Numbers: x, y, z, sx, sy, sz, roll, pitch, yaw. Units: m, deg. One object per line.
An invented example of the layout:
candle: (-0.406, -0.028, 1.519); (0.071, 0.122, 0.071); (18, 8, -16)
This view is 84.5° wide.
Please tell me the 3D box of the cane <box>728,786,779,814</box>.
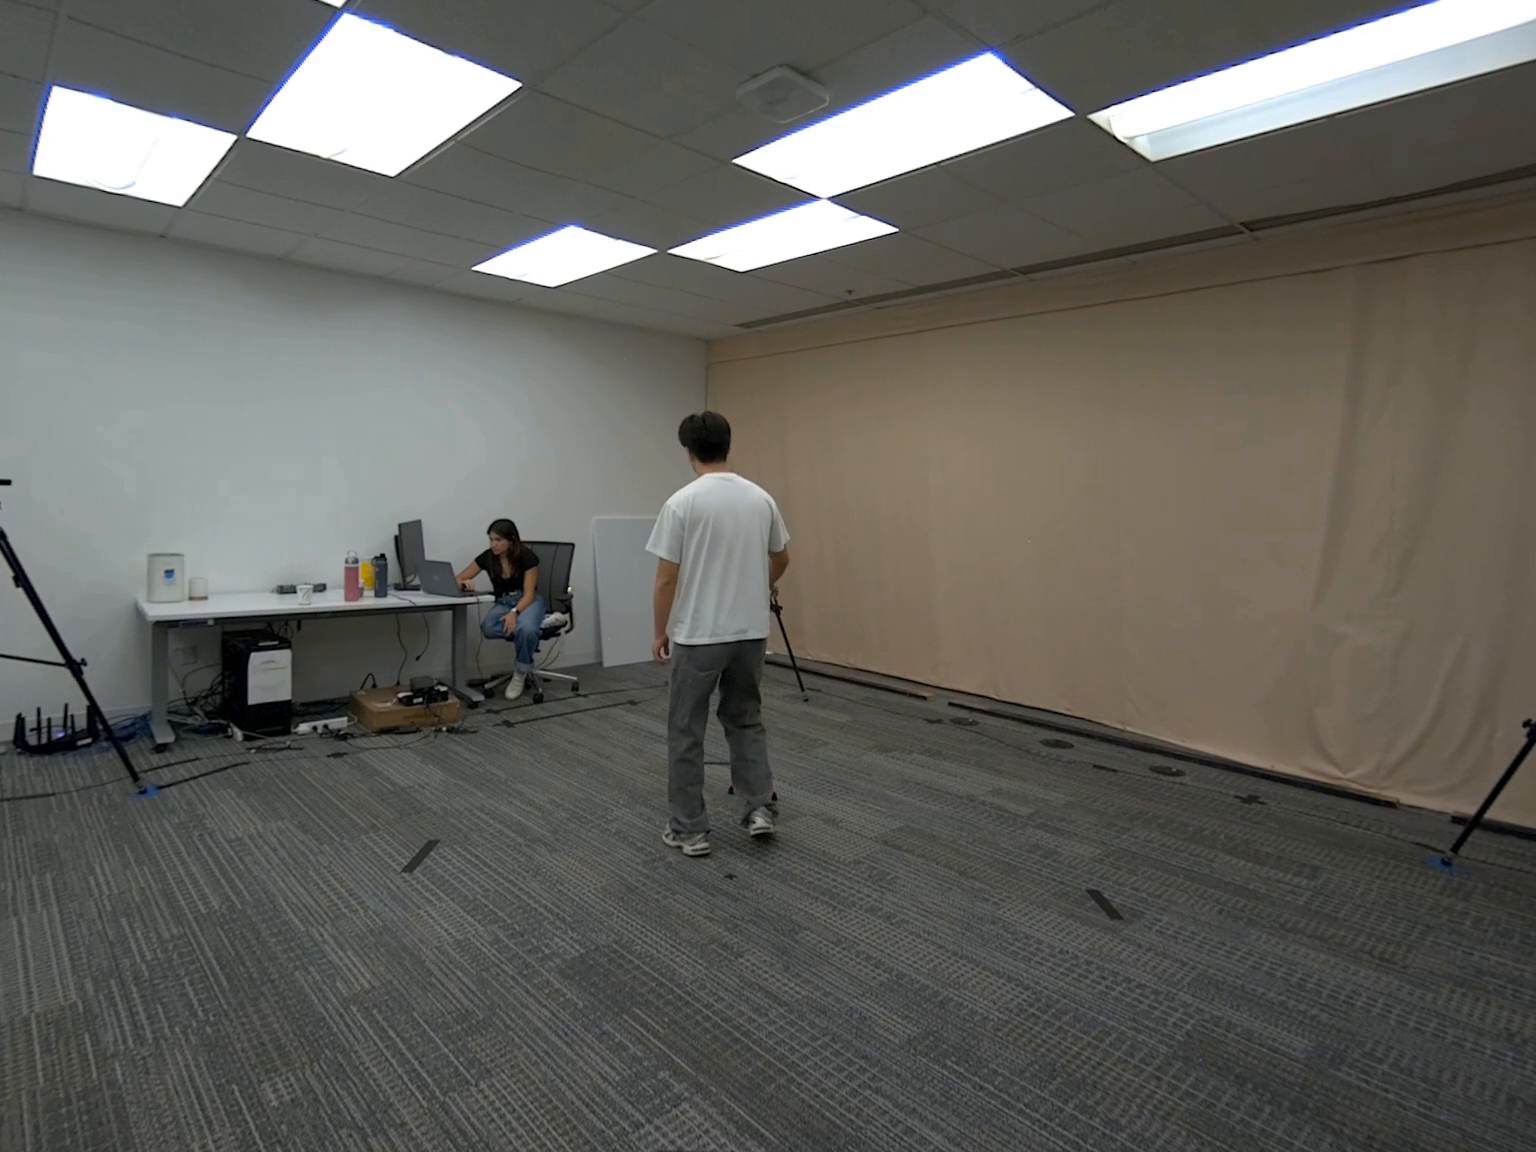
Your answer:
cane: (-0.063, 0.592, 3.932); (0.148, 0.906, 0.211); (1, 3, -33)
